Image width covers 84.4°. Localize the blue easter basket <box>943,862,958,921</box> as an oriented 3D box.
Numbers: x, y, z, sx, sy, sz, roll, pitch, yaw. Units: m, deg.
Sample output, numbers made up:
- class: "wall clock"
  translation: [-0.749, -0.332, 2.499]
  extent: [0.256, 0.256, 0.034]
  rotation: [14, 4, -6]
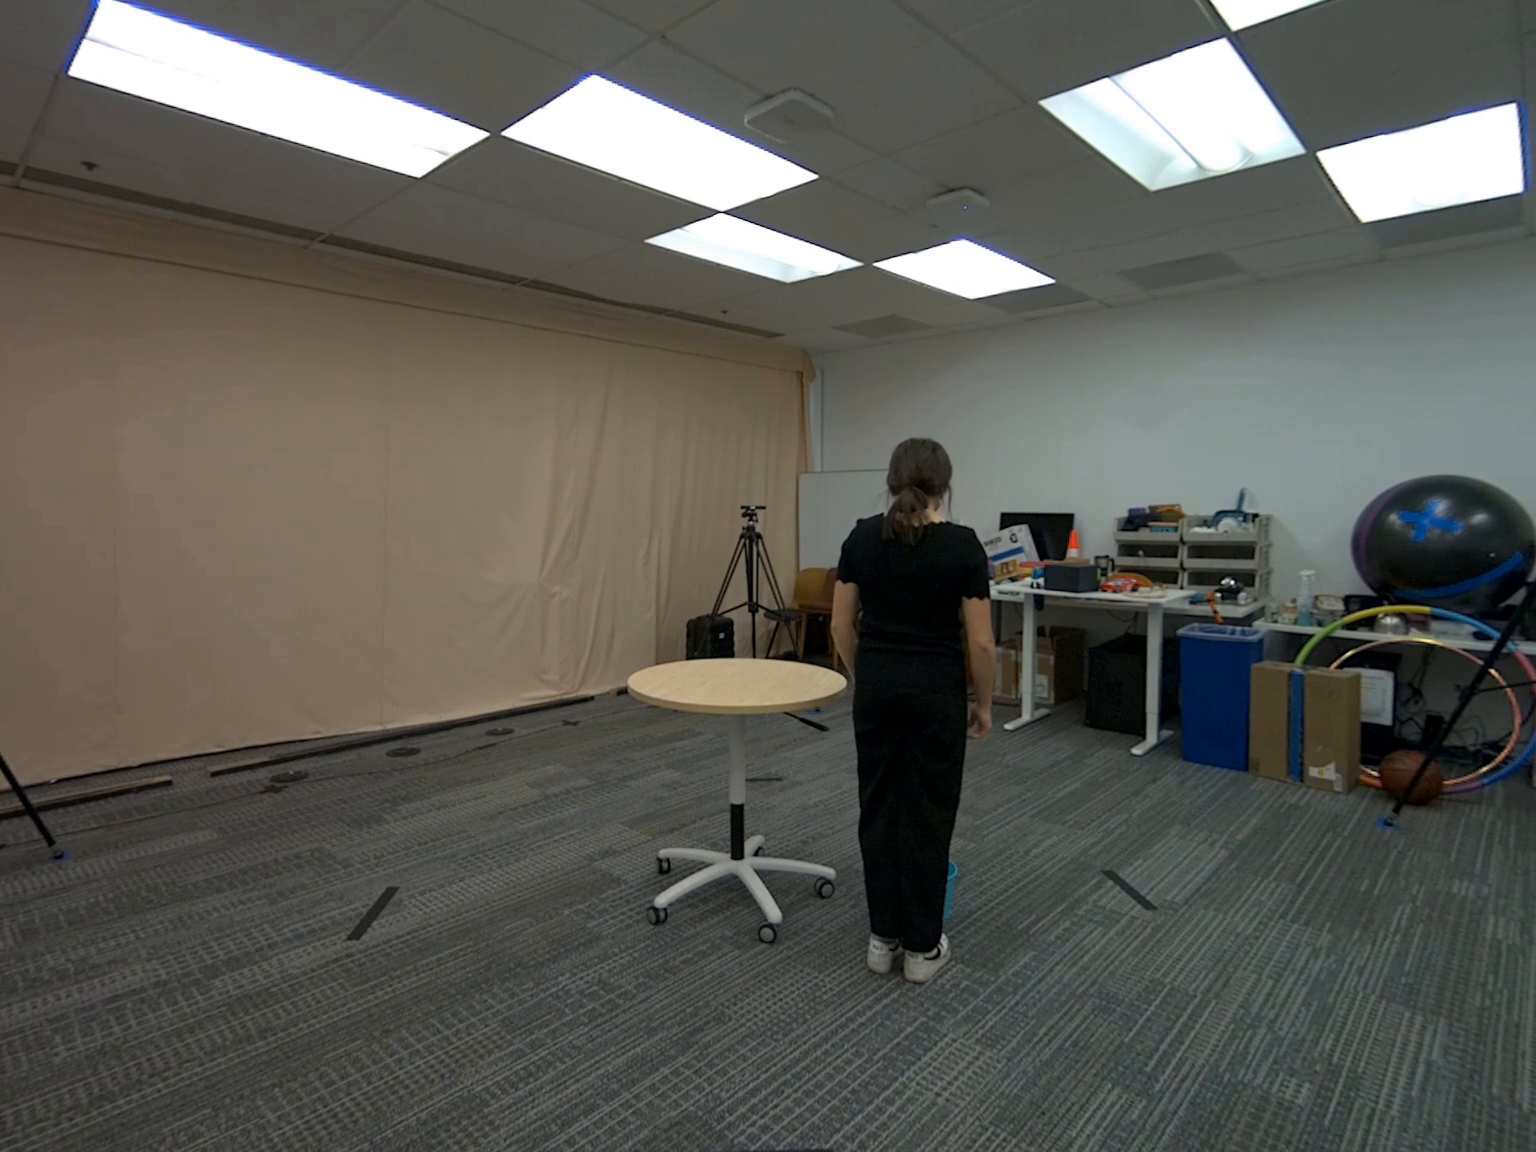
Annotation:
- class: "blue easter basket"
  translation: [0.543, 1.071, 2.886]
  extent: [0.243, 0.155, 0.244]
  rotation: [-1, 4, -2]
